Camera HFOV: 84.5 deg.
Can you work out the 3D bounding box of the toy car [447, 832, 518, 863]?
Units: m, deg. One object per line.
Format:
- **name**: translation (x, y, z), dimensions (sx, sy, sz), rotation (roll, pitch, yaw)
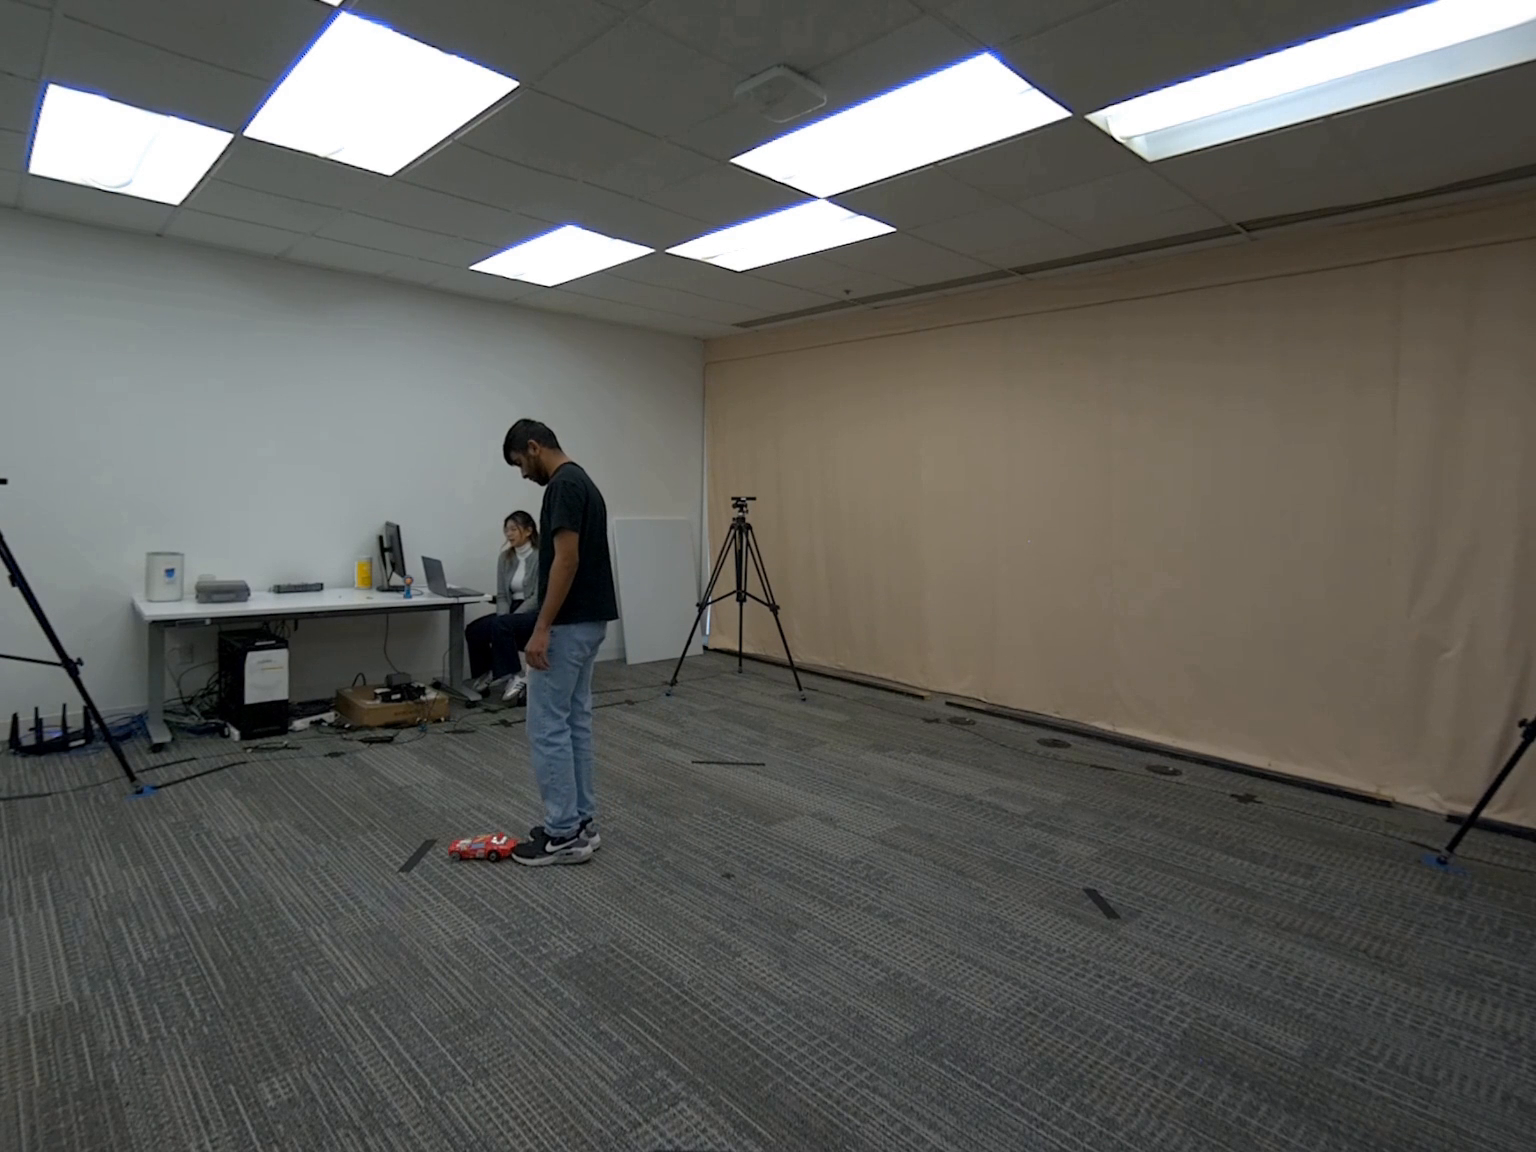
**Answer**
- **toy car**: translation (-1.087, 1.036, 3.224), dimensions (0.255, 0.083, 0.130), rotation (-11, 5, 1)
